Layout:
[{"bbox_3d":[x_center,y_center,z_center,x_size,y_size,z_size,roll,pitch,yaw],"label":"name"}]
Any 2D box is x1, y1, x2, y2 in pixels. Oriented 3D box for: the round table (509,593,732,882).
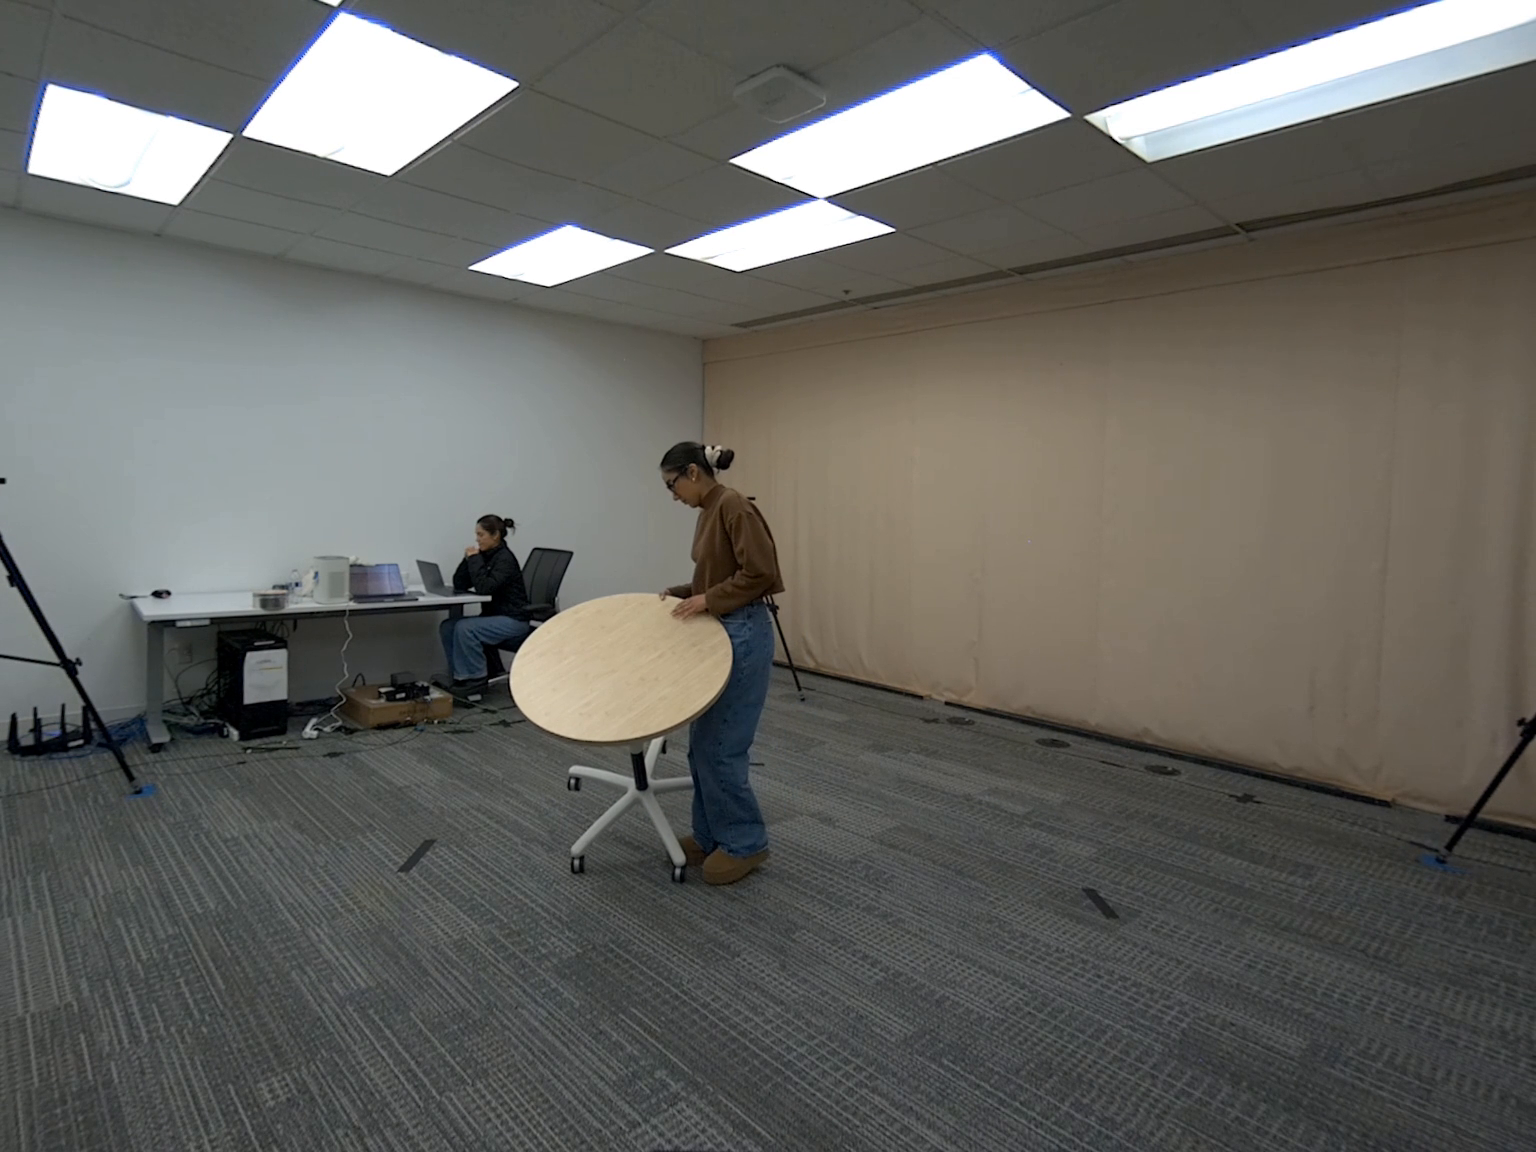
[{"bbox_3d":[-0.513,0.612,3.122,0.764,0.777,0.780,-2,34,0],"label":"round table"}]
